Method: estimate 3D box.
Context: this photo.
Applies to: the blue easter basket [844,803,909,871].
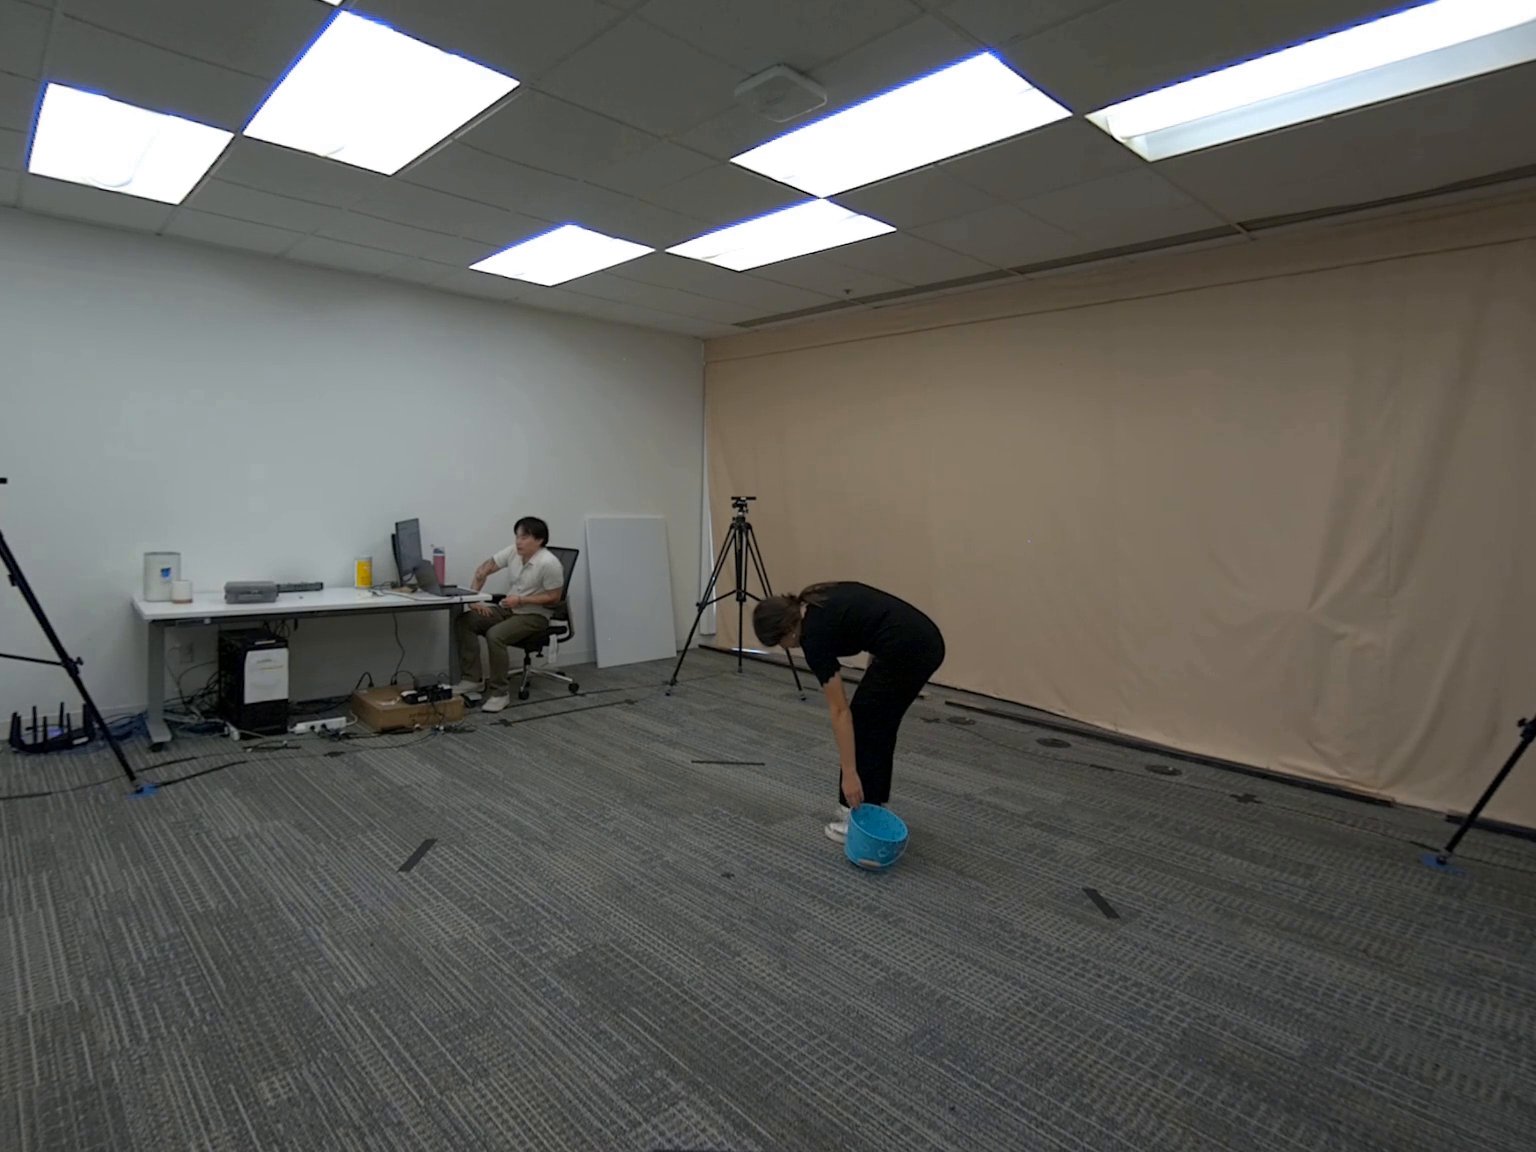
[{"bbox_3d":[0.399,1.010,3.232,0.243,0.155,0.246,13,13,-4],"label":"blue easter basket"}]
